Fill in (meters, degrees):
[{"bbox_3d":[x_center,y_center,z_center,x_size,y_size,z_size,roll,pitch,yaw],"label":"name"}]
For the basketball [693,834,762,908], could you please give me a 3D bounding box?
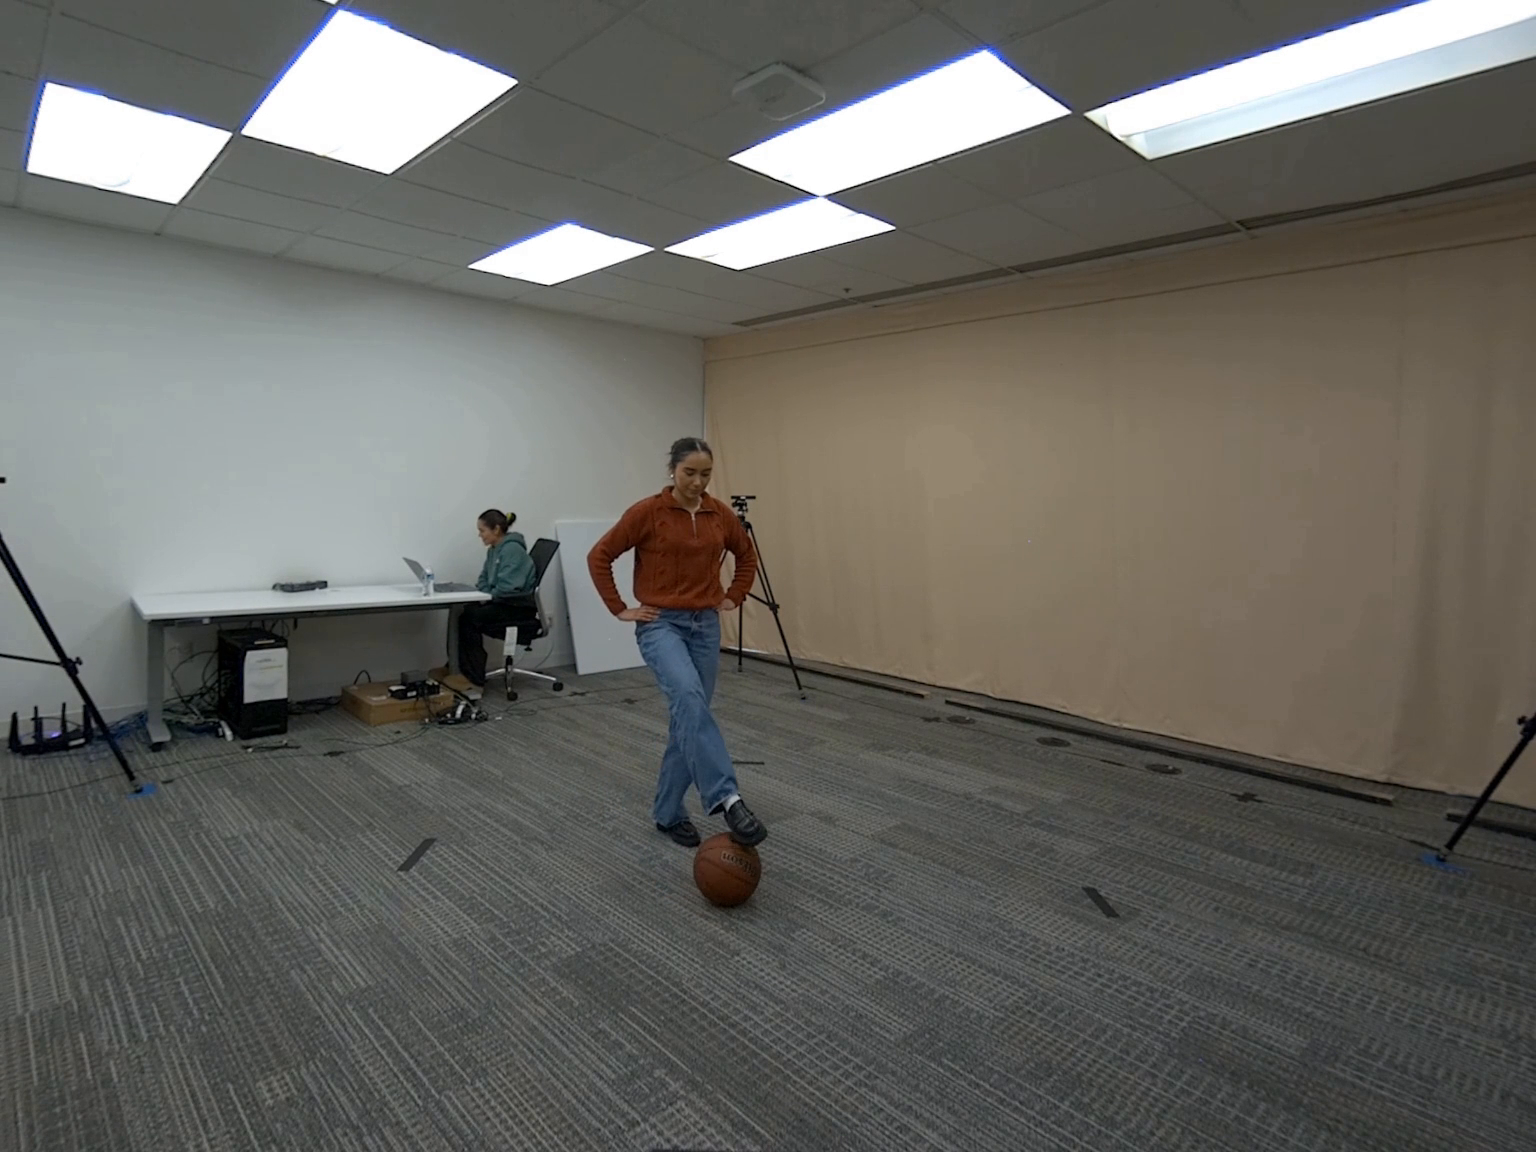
[{"bbox_3d":[-0.147,1.004,2.899,0.236,0.235,0.237,1,4,-1],"label":"basketball"}]
